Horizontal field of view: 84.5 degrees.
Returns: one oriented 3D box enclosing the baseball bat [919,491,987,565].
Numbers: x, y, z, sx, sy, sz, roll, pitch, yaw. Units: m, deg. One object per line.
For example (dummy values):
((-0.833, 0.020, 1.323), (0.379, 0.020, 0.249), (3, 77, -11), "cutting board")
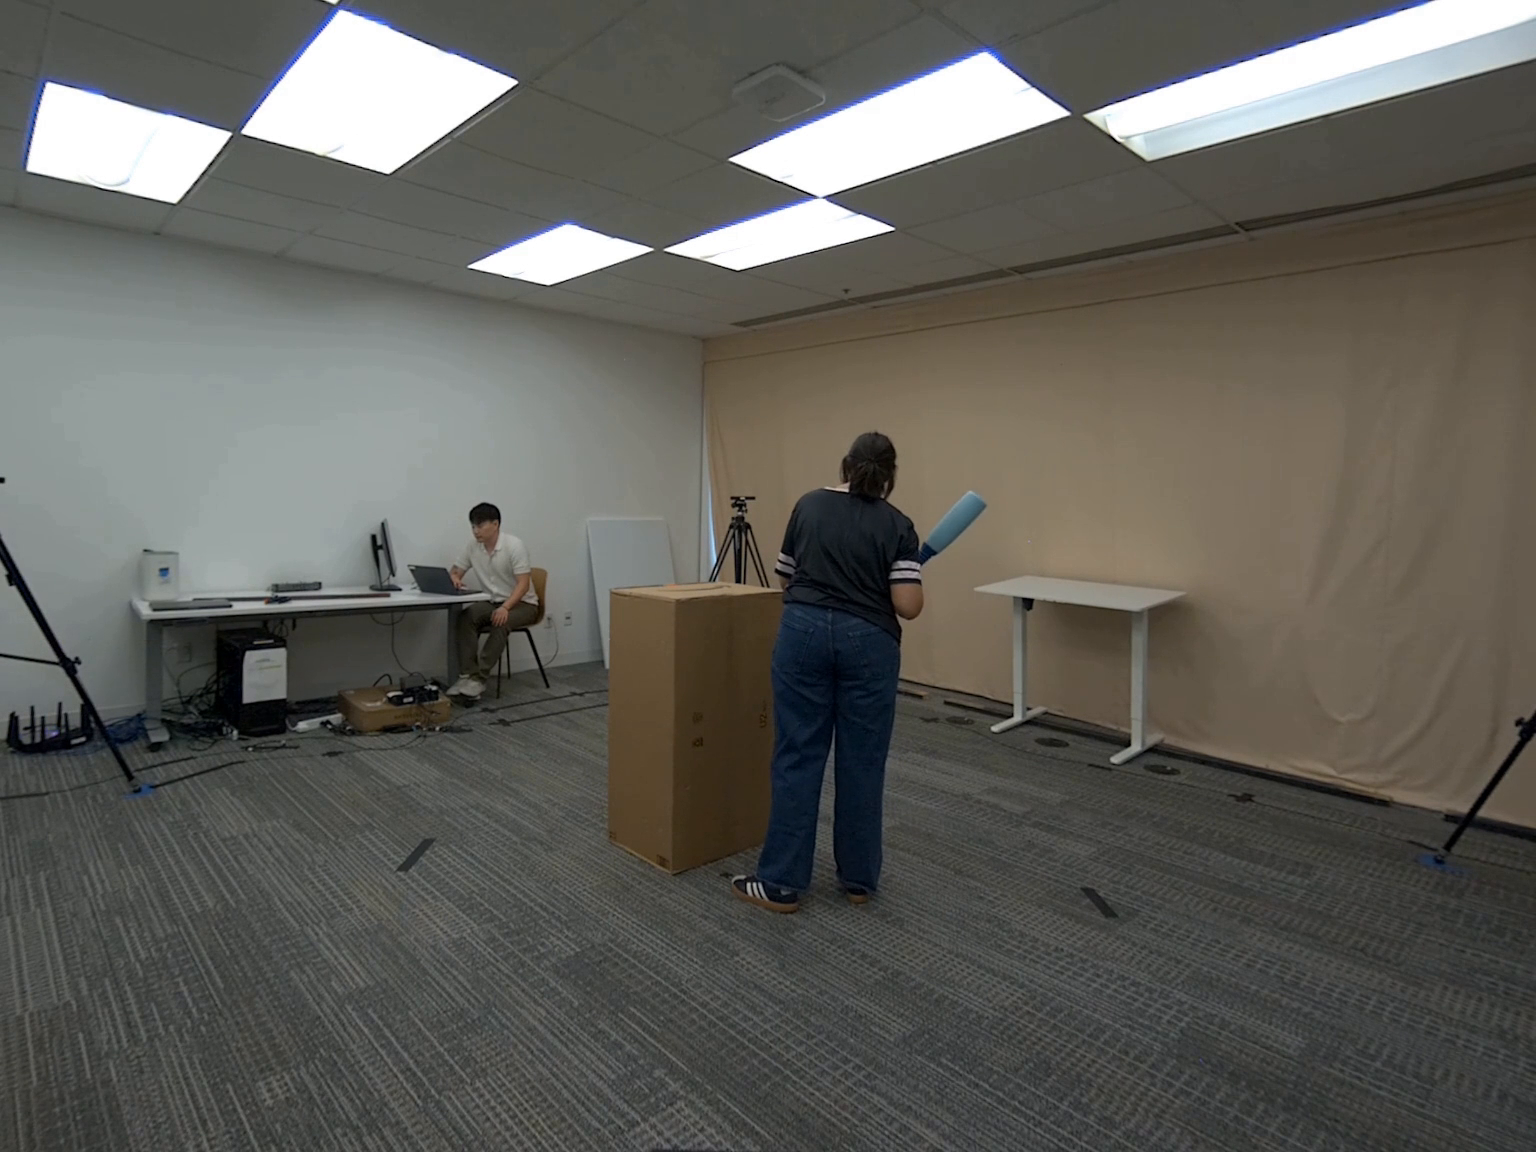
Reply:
((0.583, -0.068, 3.088), (0.088, 0.543, 0.090), (39, 11, -11), "baseball bat")
